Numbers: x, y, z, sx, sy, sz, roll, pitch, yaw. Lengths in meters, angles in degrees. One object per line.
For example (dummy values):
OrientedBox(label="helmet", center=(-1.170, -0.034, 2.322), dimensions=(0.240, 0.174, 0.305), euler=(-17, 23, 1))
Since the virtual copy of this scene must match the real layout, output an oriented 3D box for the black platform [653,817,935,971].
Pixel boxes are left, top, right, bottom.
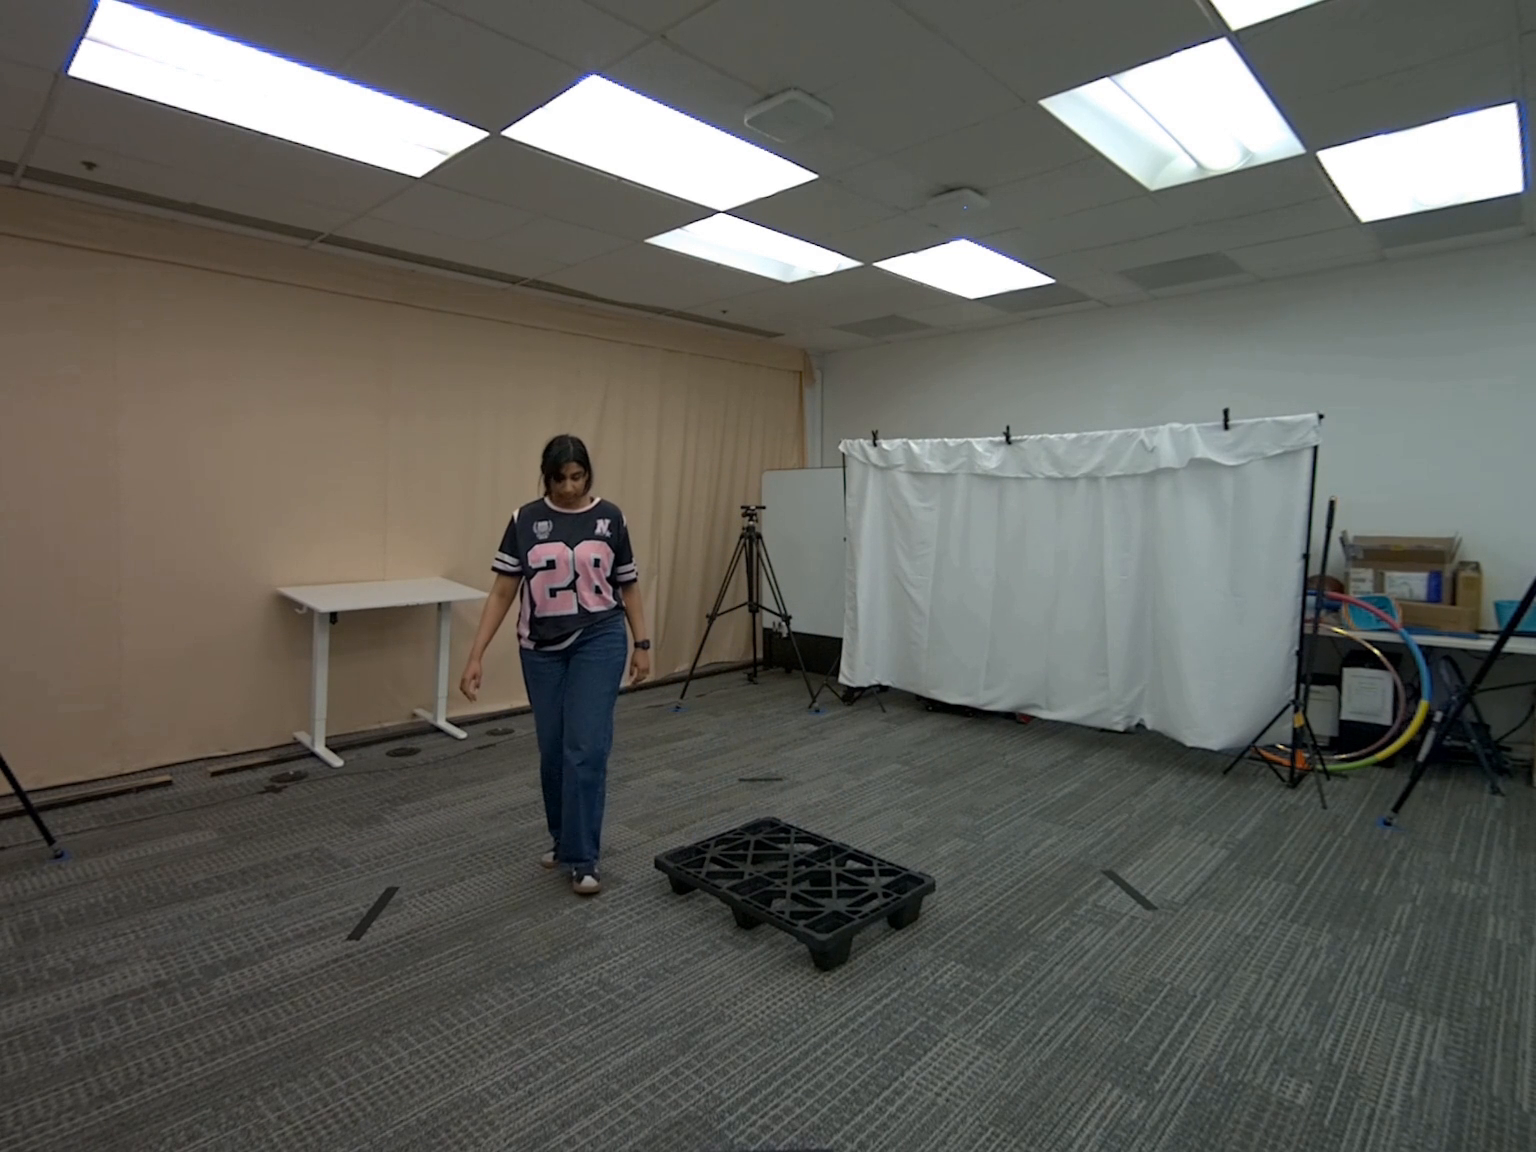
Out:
OrientedBox(label="black platform", center=(0.082, 1.083, 2.923), dimensions=(0.587, 0.143, 0.832), euler=(-5, 7, -44))
